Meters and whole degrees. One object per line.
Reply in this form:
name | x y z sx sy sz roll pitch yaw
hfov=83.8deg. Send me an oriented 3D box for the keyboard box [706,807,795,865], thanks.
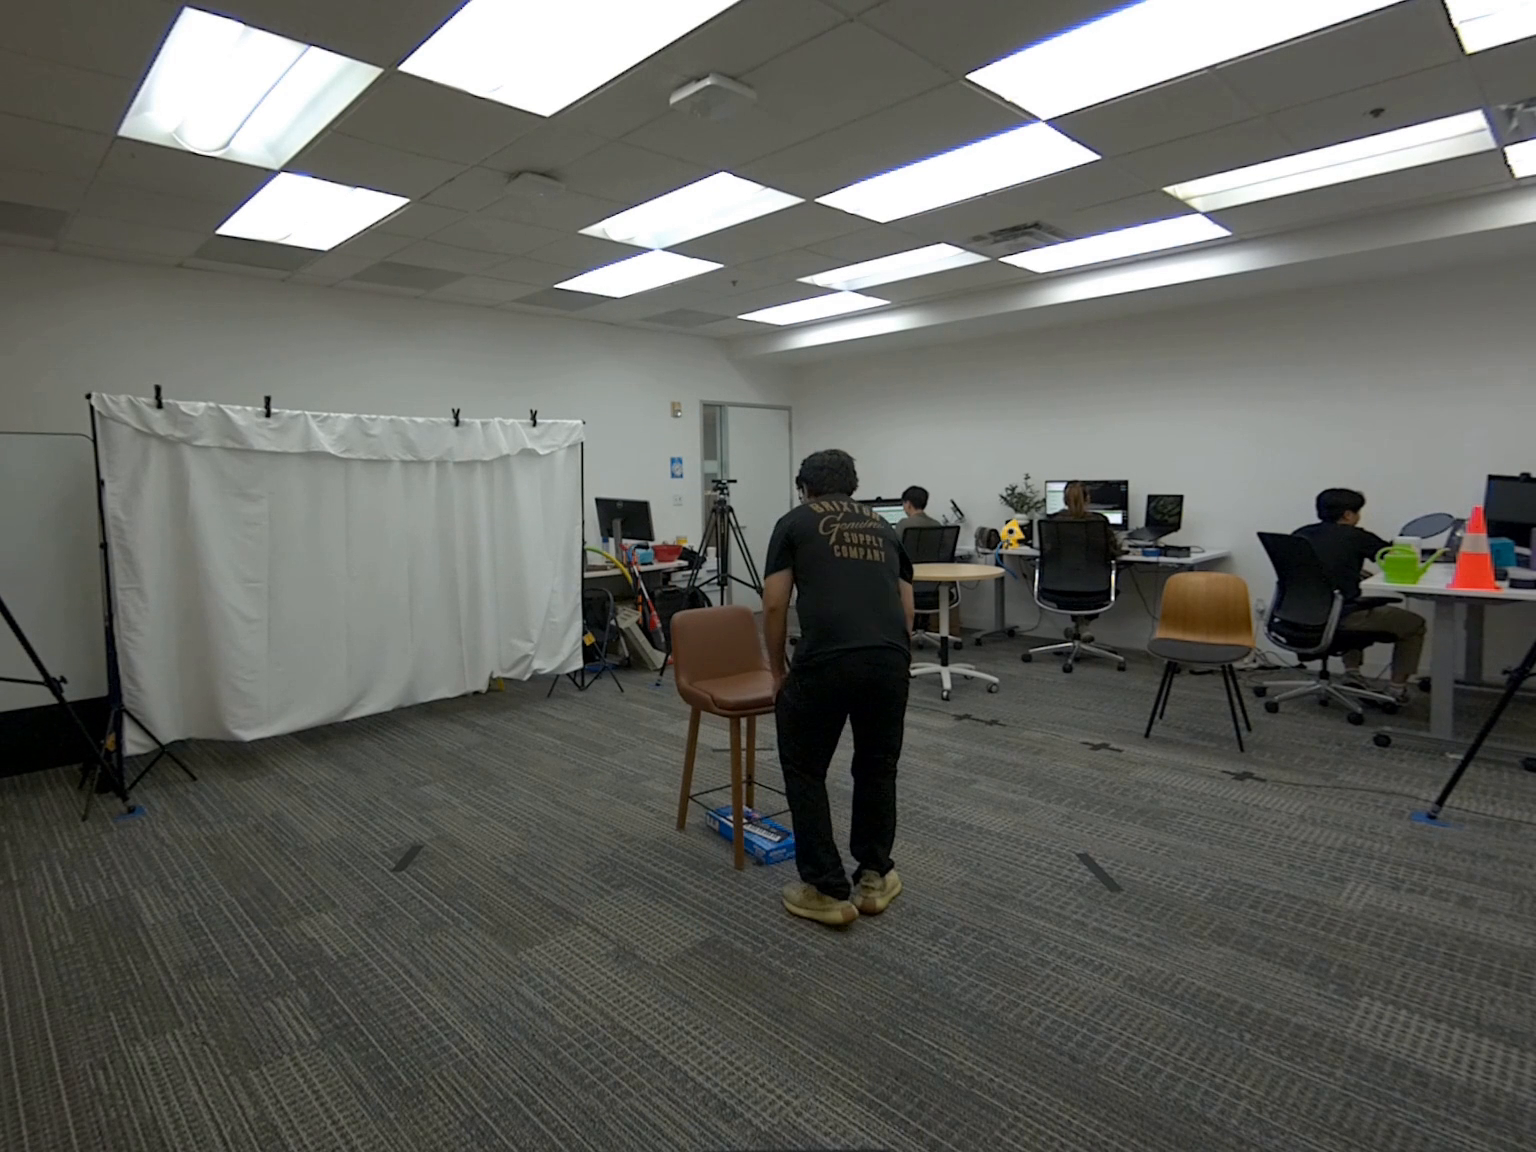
keyboard box | -0.059 0.996 3.321 0.171 0.059 0.450 -4 7 -33
